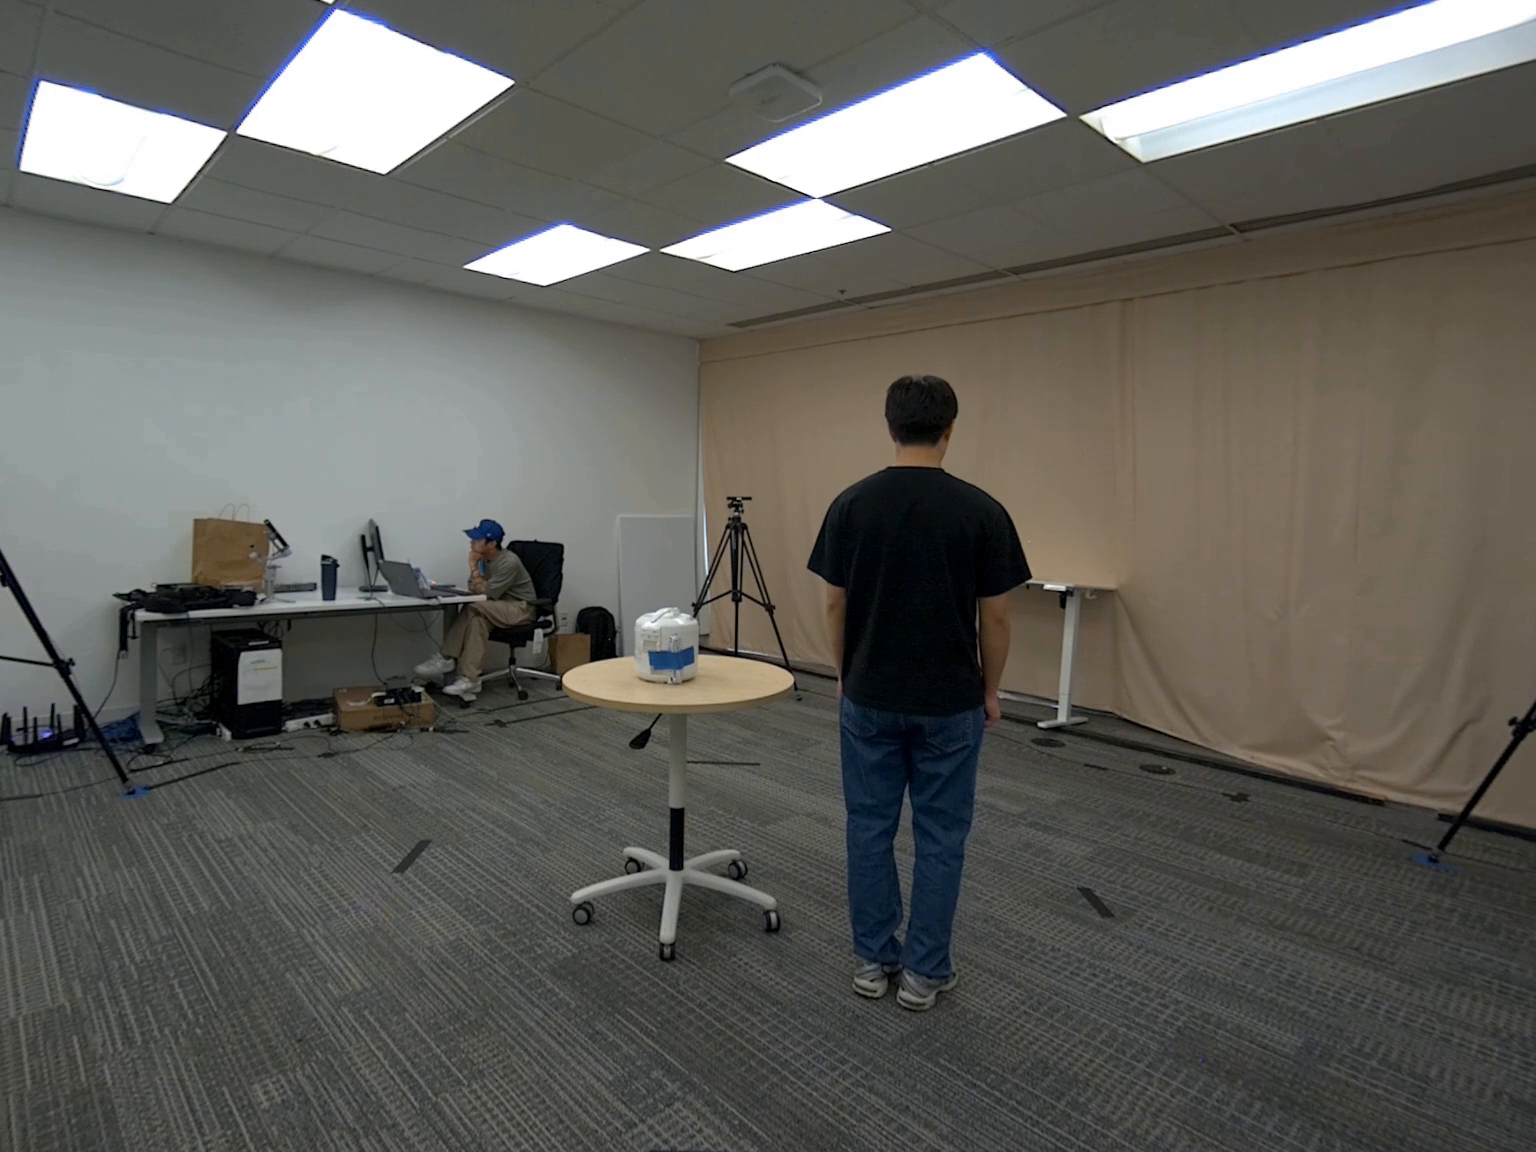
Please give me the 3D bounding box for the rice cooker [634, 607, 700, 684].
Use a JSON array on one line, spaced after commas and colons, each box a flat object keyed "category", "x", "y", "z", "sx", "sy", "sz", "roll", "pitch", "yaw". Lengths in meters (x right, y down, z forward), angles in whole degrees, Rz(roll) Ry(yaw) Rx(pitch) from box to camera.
[{"category": "rice cooker", "x": -0.339, "y": 0.223, "z": 2.760, "sx": 0.222, "sy": 0.232, "sz": 0.217, "roll": 3, "pitch": 4, "yaw": 25}]
